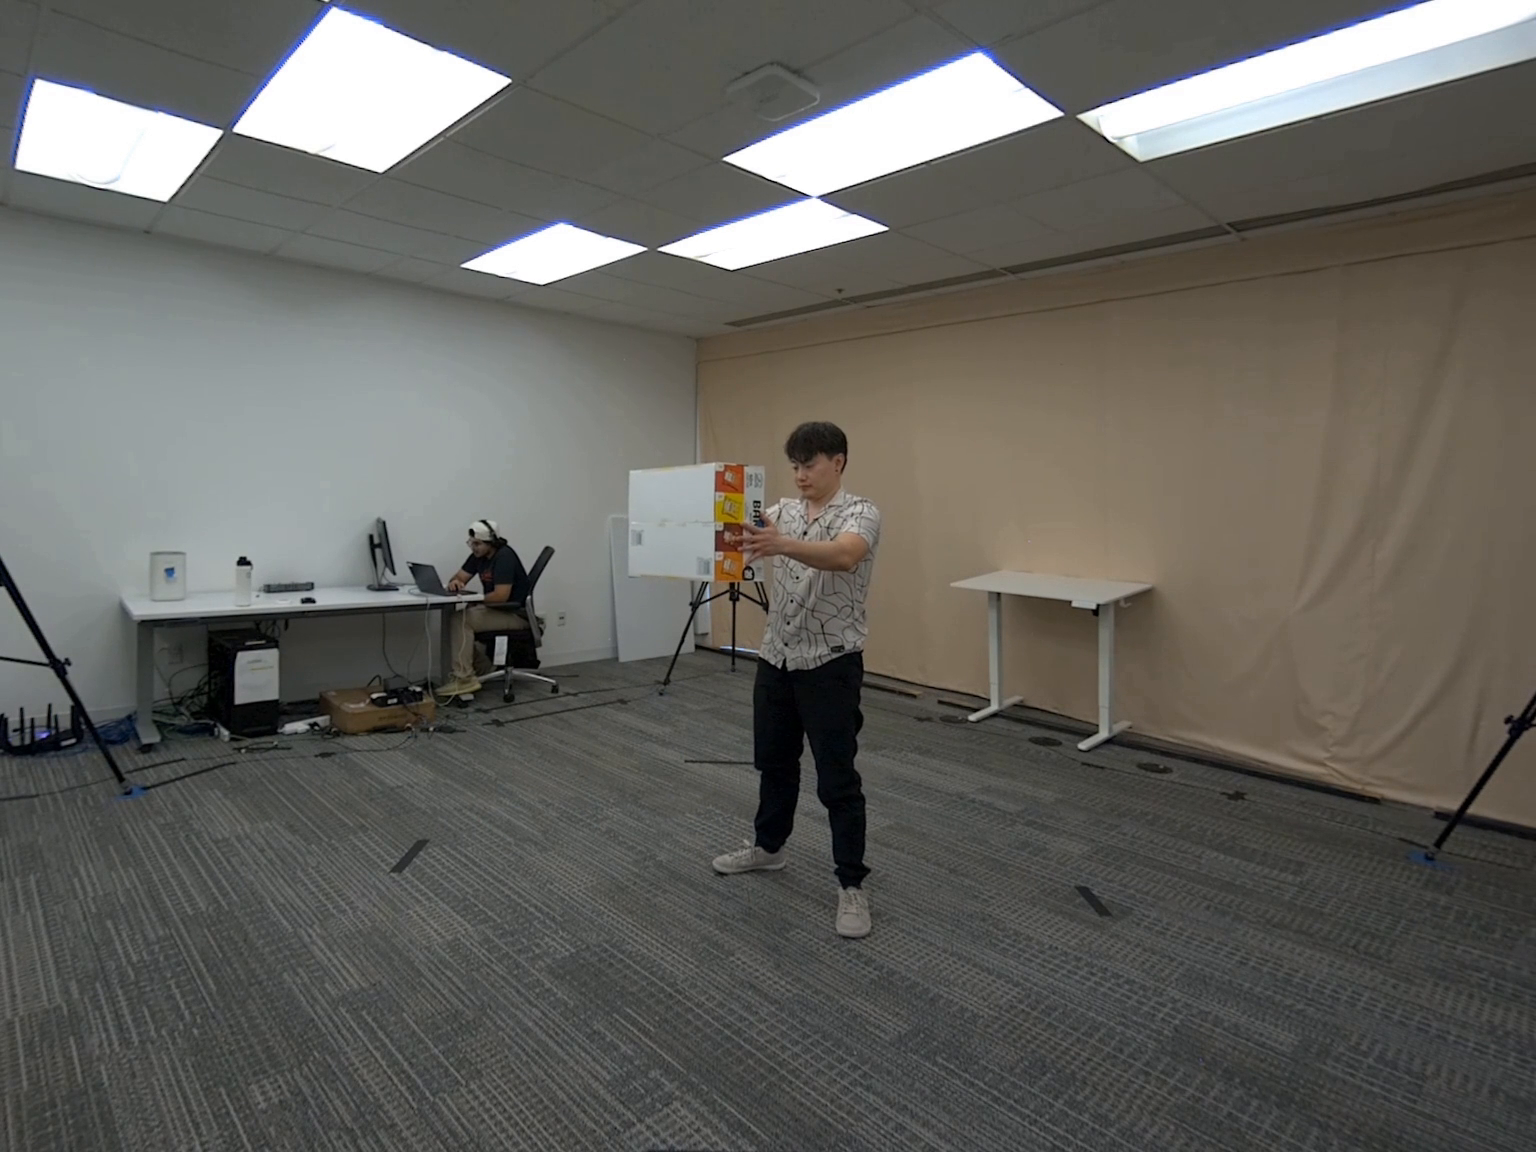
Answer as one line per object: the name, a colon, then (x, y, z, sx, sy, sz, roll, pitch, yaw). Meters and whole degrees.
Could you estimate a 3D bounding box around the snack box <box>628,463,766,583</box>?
snack box: (-0.228, -0.159, 2.563, 0.415, 0.340, 0.201, 1, 0, 44)
